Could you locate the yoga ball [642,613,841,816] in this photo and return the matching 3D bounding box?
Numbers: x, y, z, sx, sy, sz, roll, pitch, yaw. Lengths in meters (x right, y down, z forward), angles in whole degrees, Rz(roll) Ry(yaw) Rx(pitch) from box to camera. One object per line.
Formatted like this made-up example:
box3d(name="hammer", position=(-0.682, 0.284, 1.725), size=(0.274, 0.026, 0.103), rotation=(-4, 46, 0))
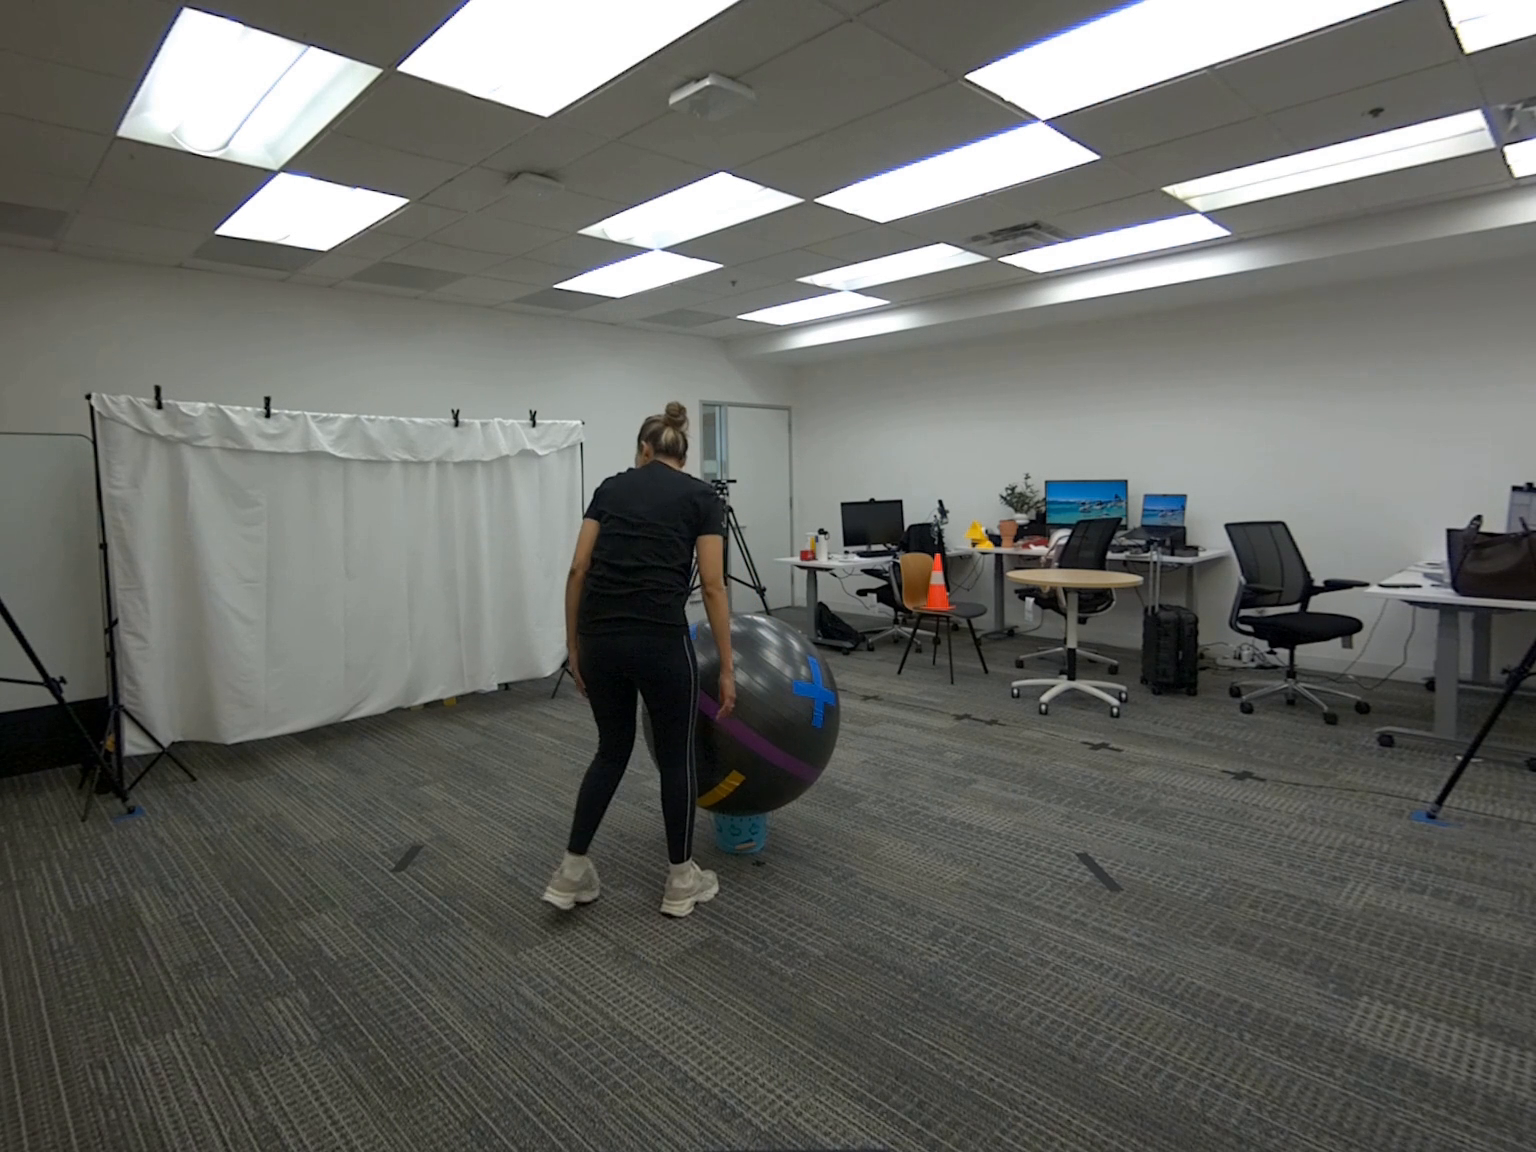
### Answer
box3d(name="yoga ball", position=(-0.103, 0.520, 3.266), size=(0.757, 0.755, 0.762), rotation=(-1, 5, -2))
